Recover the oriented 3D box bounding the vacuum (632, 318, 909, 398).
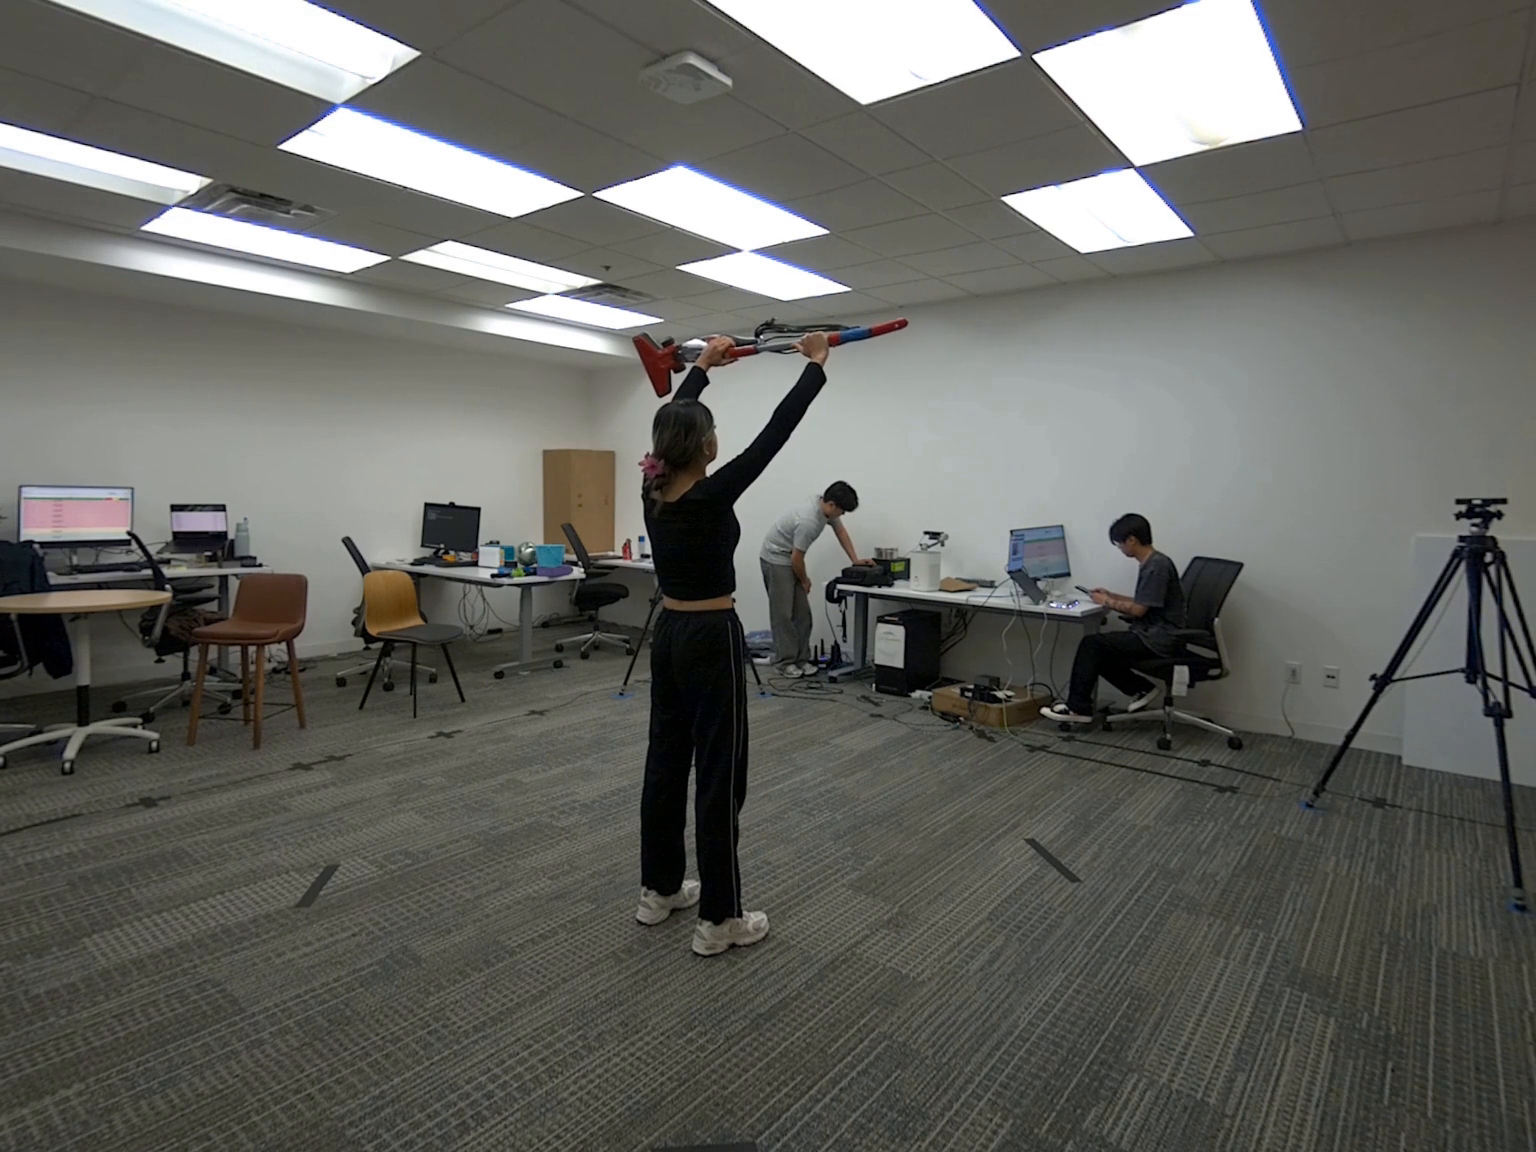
[{"bbox_3d":[-0.016,-0.783,2.852,1.084,0.245,0.143,4,37,41],"label":"vacuum"}]
